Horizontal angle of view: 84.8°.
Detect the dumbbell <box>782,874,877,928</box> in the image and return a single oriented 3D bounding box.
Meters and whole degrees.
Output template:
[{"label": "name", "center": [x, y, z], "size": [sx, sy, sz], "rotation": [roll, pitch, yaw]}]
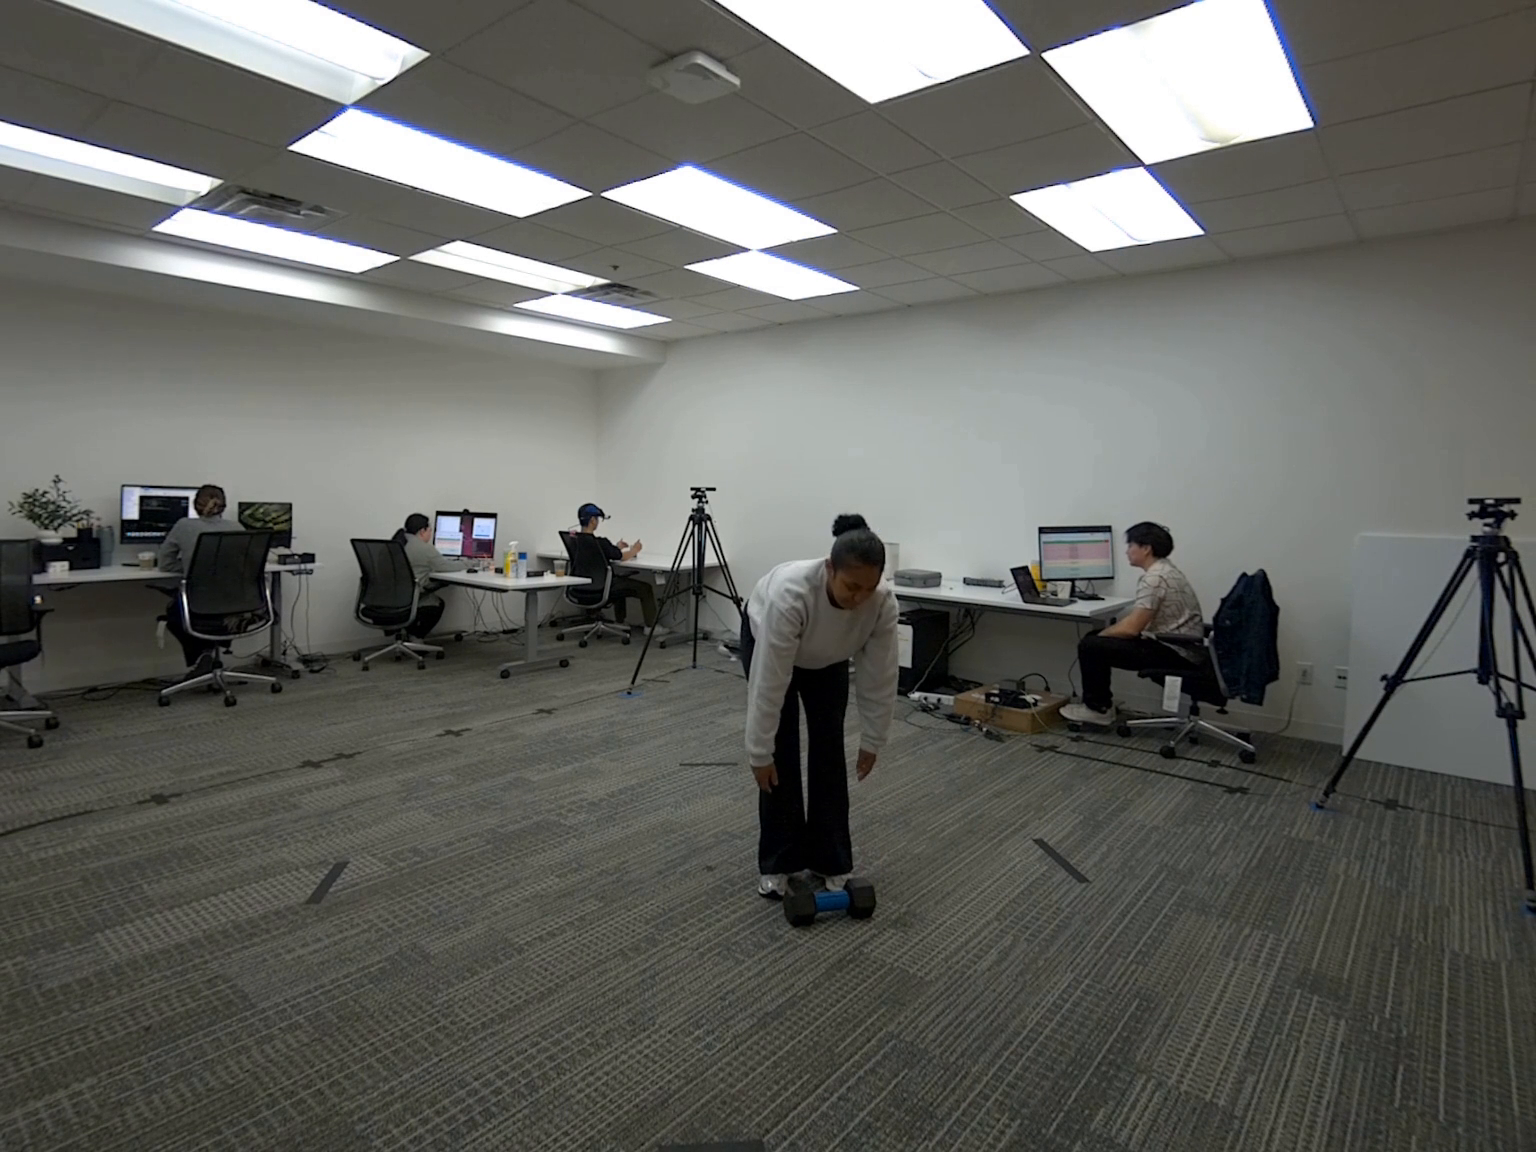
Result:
[{"label": "dumbbell", "center": [0.195, 1.053, 2.769], "size": [0.288, 0.126, 0.108], "rotation": [0, -25, -17]}]
